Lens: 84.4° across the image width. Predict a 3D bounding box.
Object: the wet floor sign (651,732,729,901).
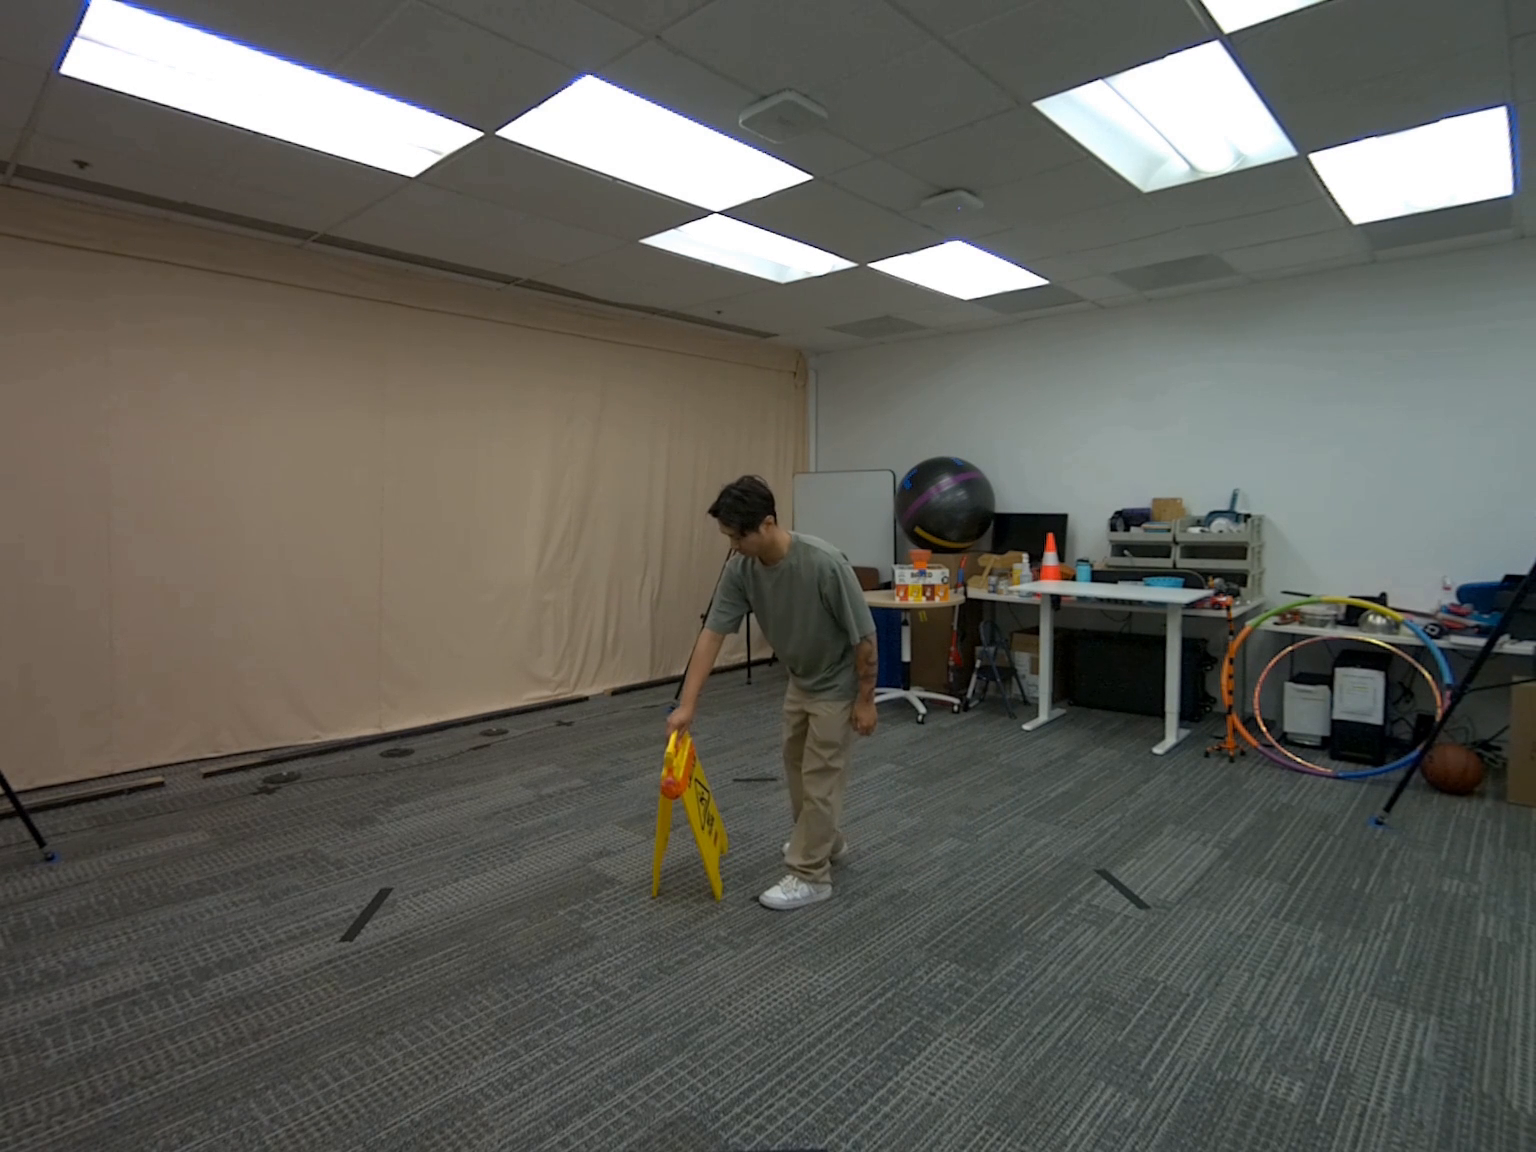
[{"bbox_3d":[-0.300,0.803,2.955,0.293,0.636,0.283,-1,22,8],"label":"wet floor sign"}]
